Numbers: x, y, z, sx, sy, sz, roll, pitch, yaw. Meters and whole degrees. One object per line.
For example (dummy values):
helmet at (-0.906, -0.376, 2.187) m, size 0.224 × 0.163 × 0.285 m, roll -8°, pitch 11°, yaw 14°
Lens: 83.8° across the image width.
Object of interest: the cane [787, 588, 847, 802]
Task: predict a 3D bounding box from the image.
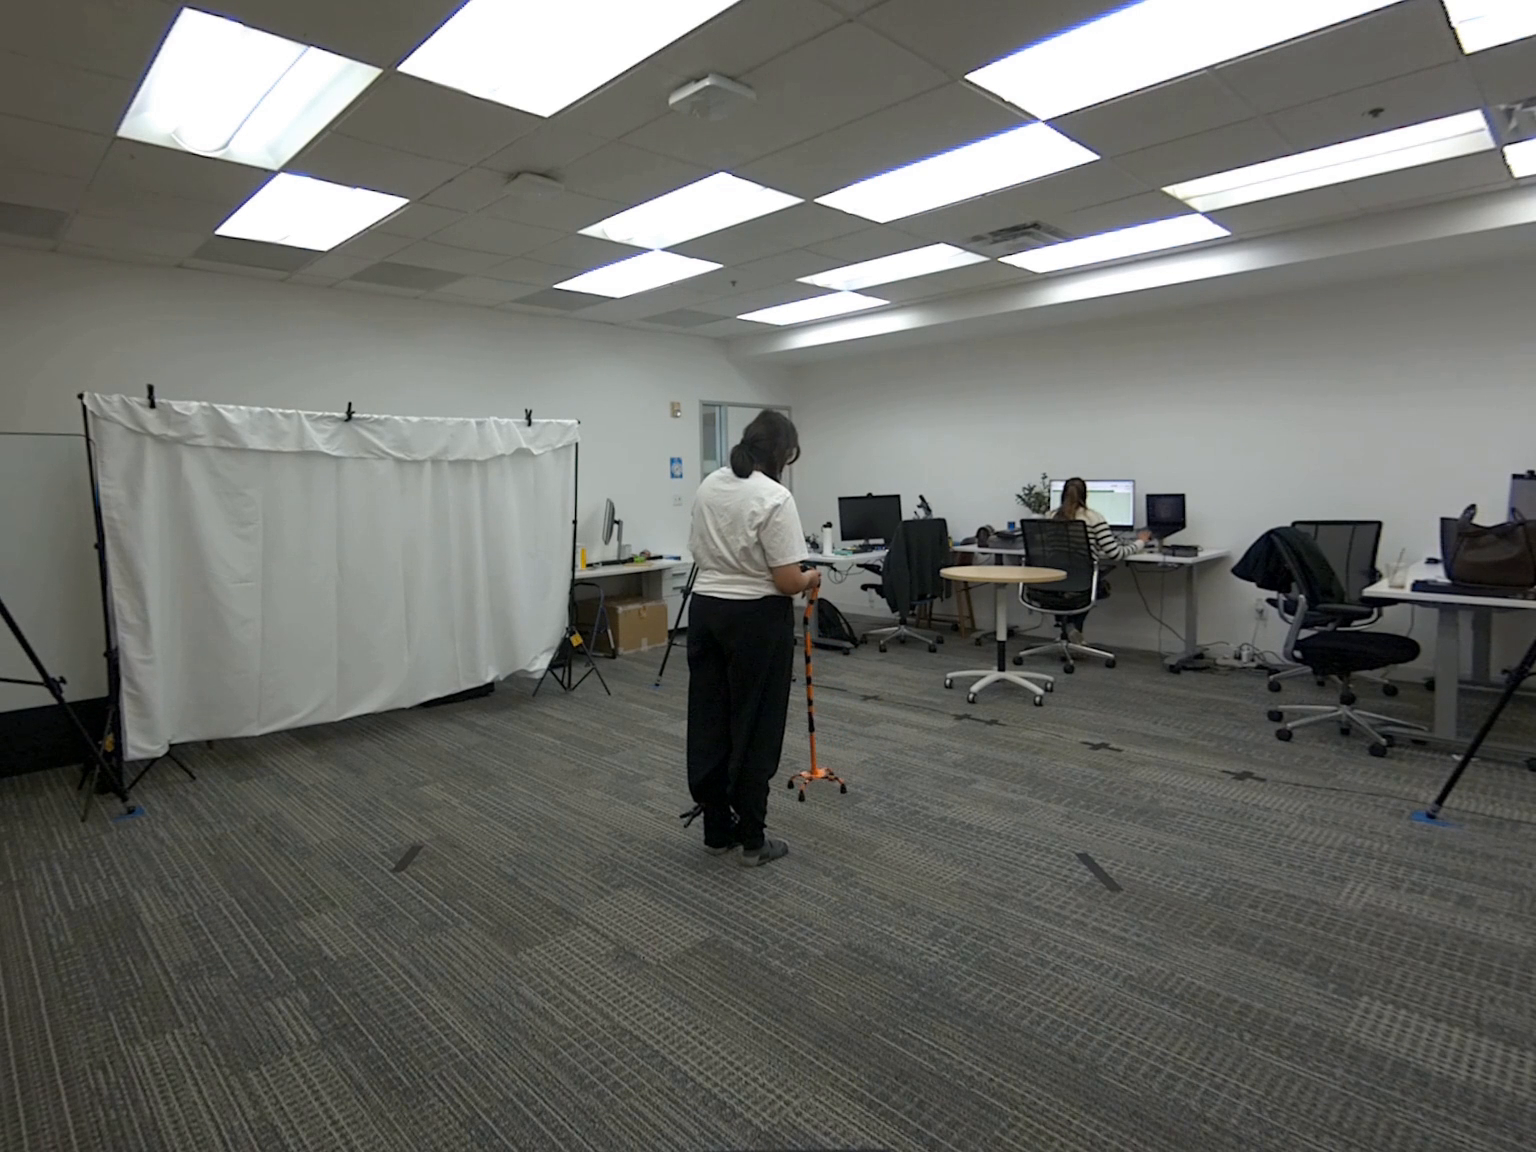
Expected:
cane at (0.176, 0.421, 3.341) m, size 0.203 × 0.900 × 0.155 m, roll -6°, pitch 9°, yaw -18°
